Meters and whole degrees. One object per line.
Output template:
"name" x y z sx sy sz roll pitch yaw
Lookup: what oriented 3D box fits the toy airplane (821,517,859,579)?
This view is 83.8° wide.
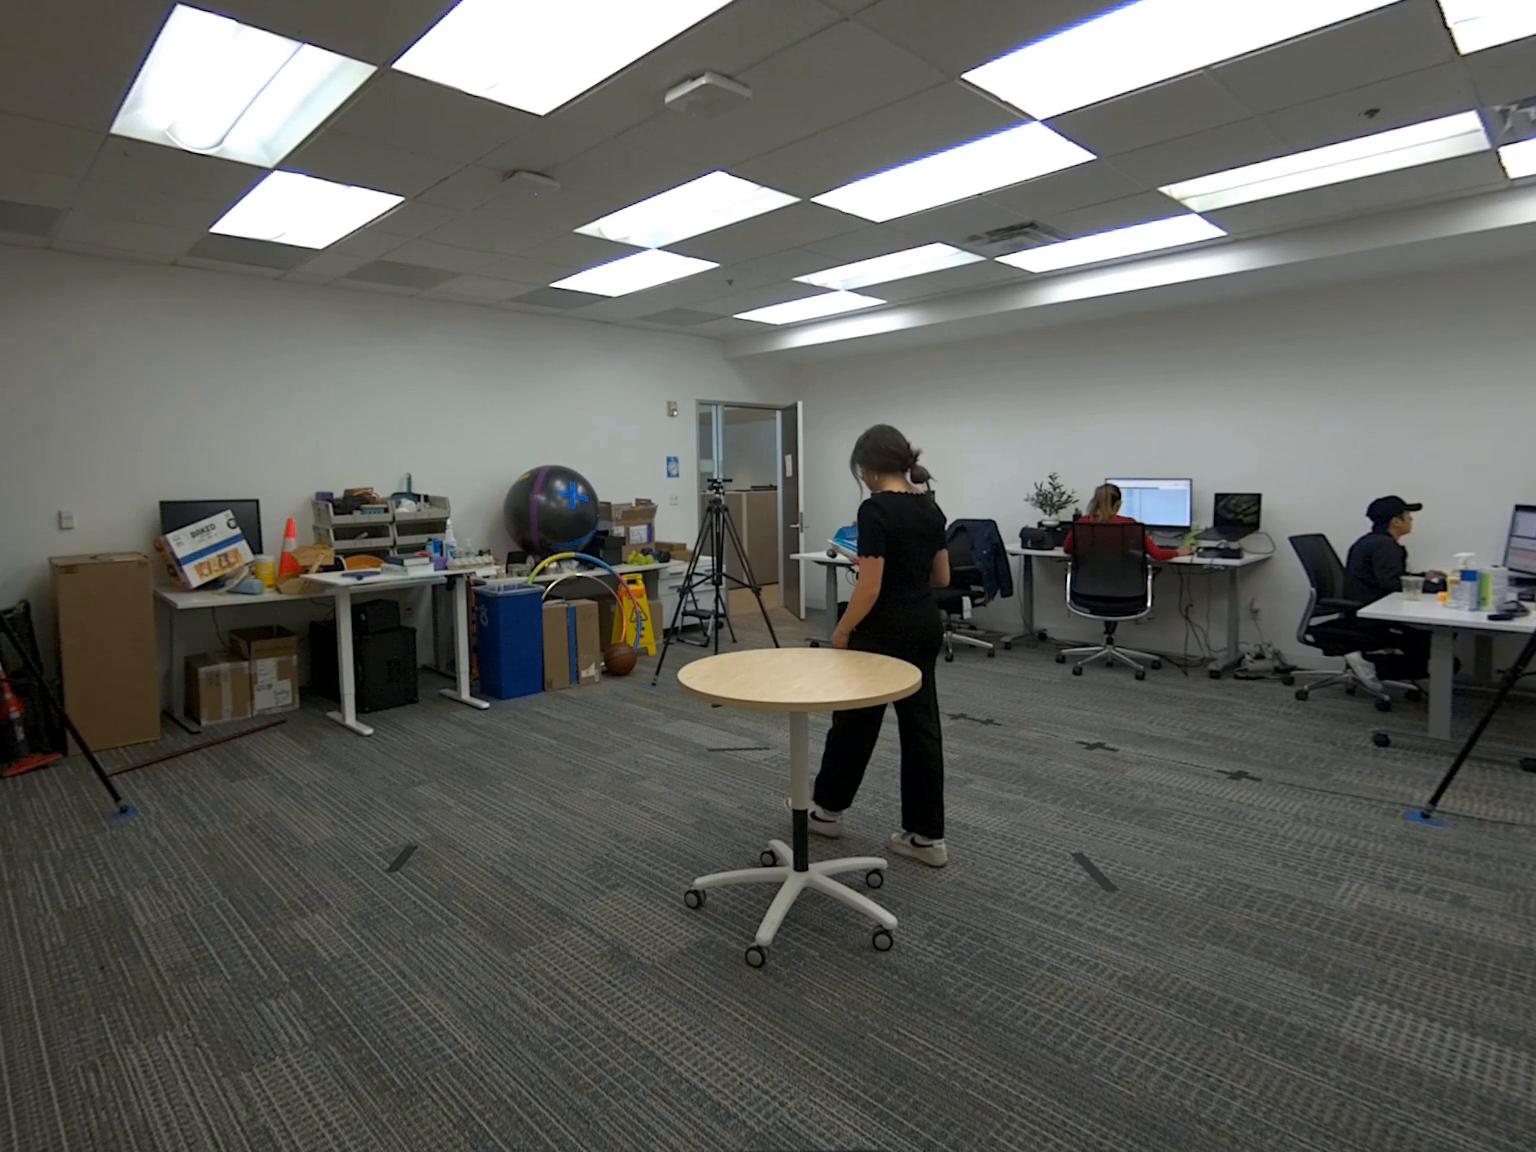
"toy airplane" 0.382 -0.087 3.533 0.257 0.156 0.253 38 7 -7
